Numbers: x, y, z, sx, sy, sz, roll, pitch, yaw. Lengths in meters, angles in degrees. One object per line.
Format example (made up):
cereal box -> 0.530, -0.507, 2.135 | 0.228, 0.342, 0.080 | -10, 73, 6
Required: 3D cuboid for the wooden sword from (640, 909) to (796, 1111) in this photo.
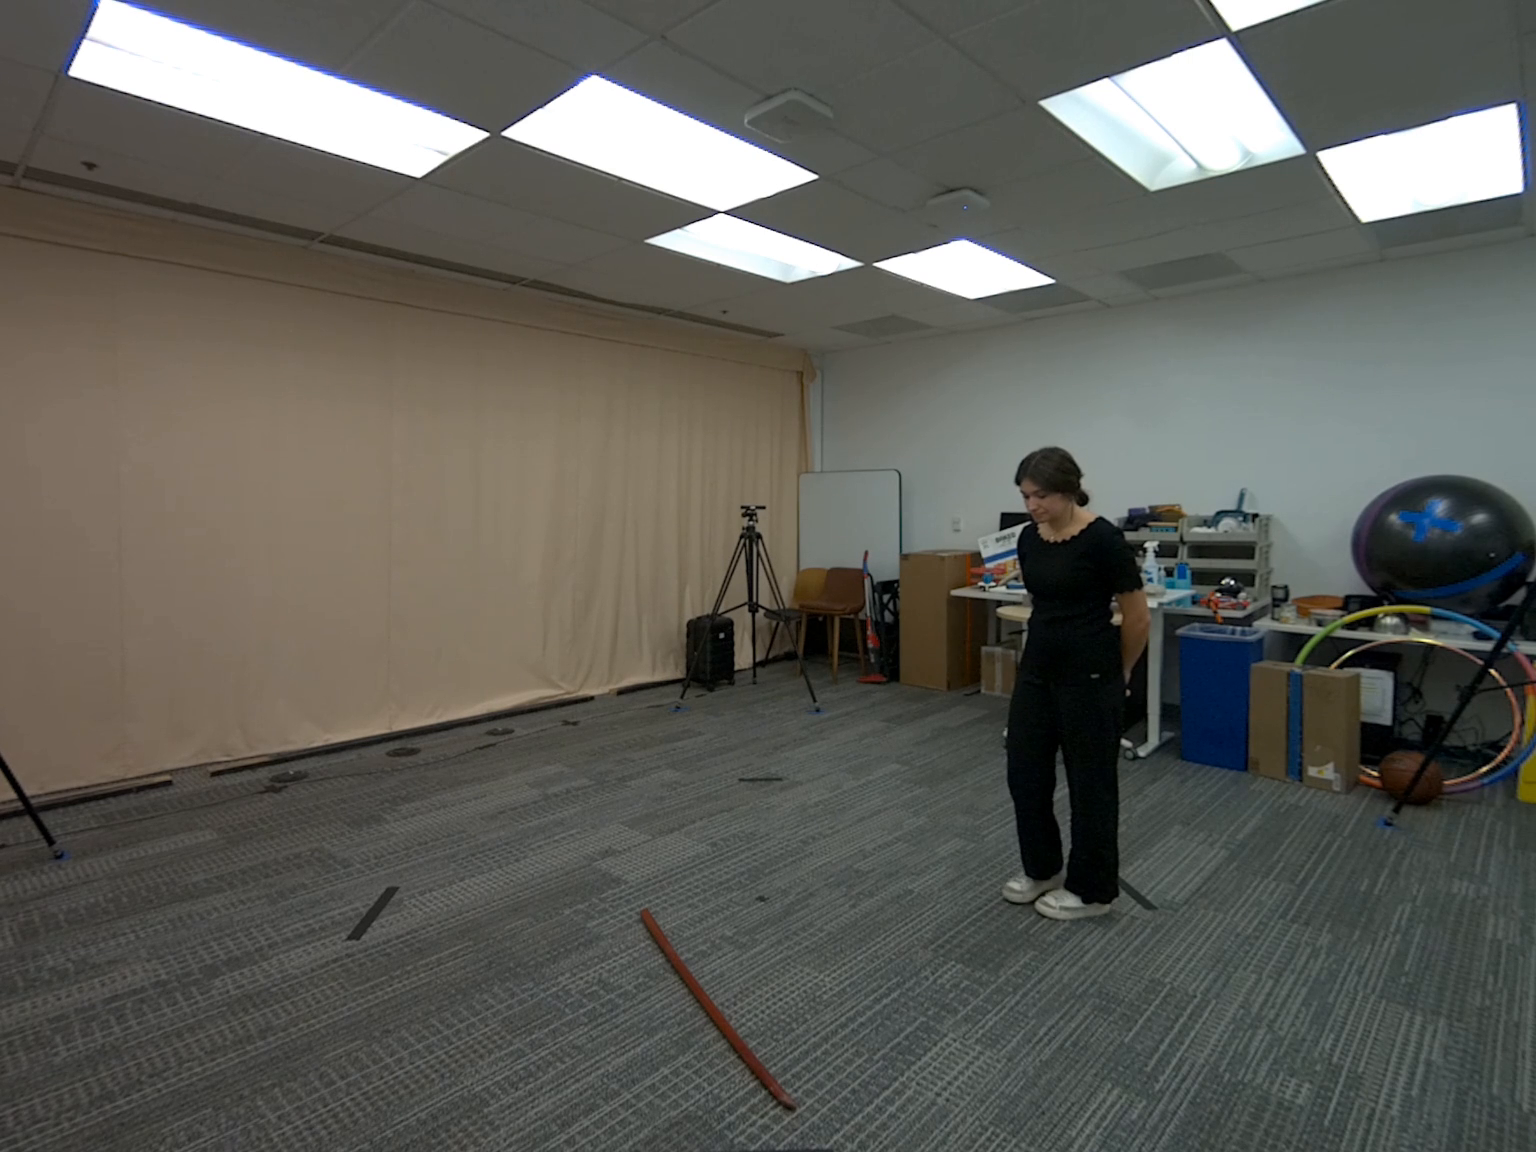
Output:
wooden sword -> -0.181, 1.166, 2.413 | 0.050, 0.024, 1.052 | -16, 11, -24
